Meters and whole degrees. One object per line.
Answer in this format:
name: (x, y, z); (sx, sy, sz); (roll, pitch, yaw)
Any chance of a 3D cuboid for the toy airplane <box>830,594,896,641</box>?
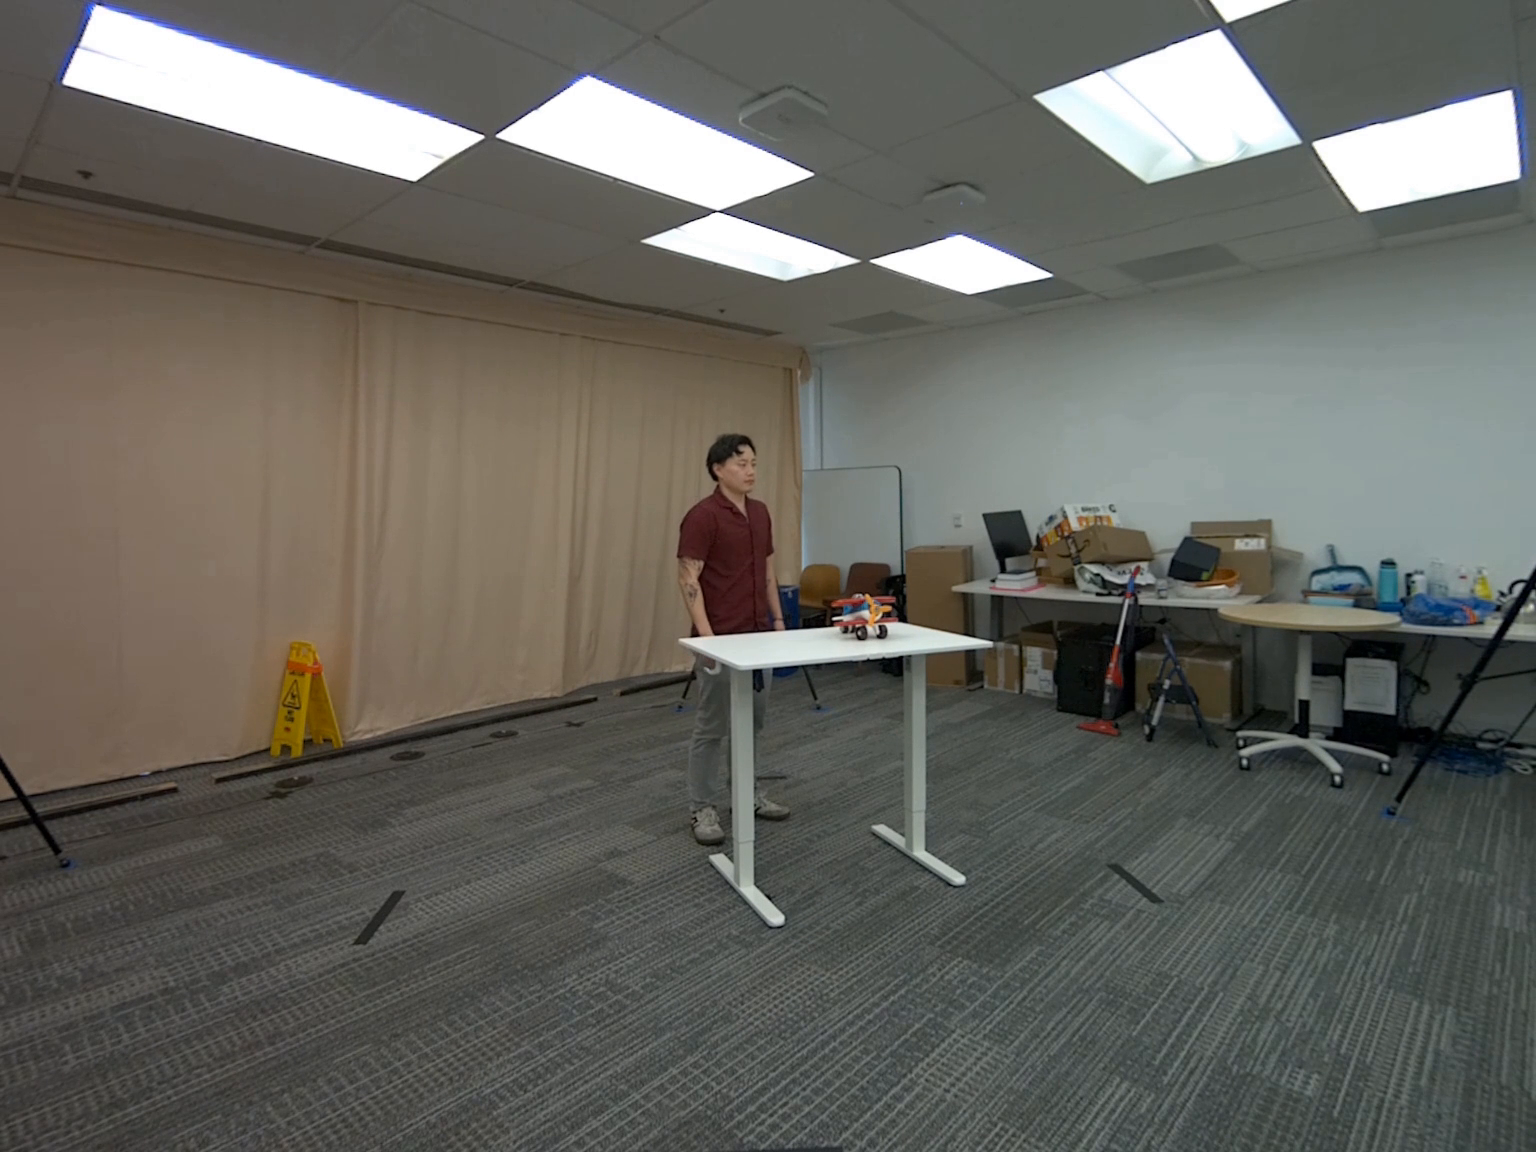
toy airplane: (0.344, 0.155, 3.215); (0.268, 0.156, 0.243); (3, 6, 42)
